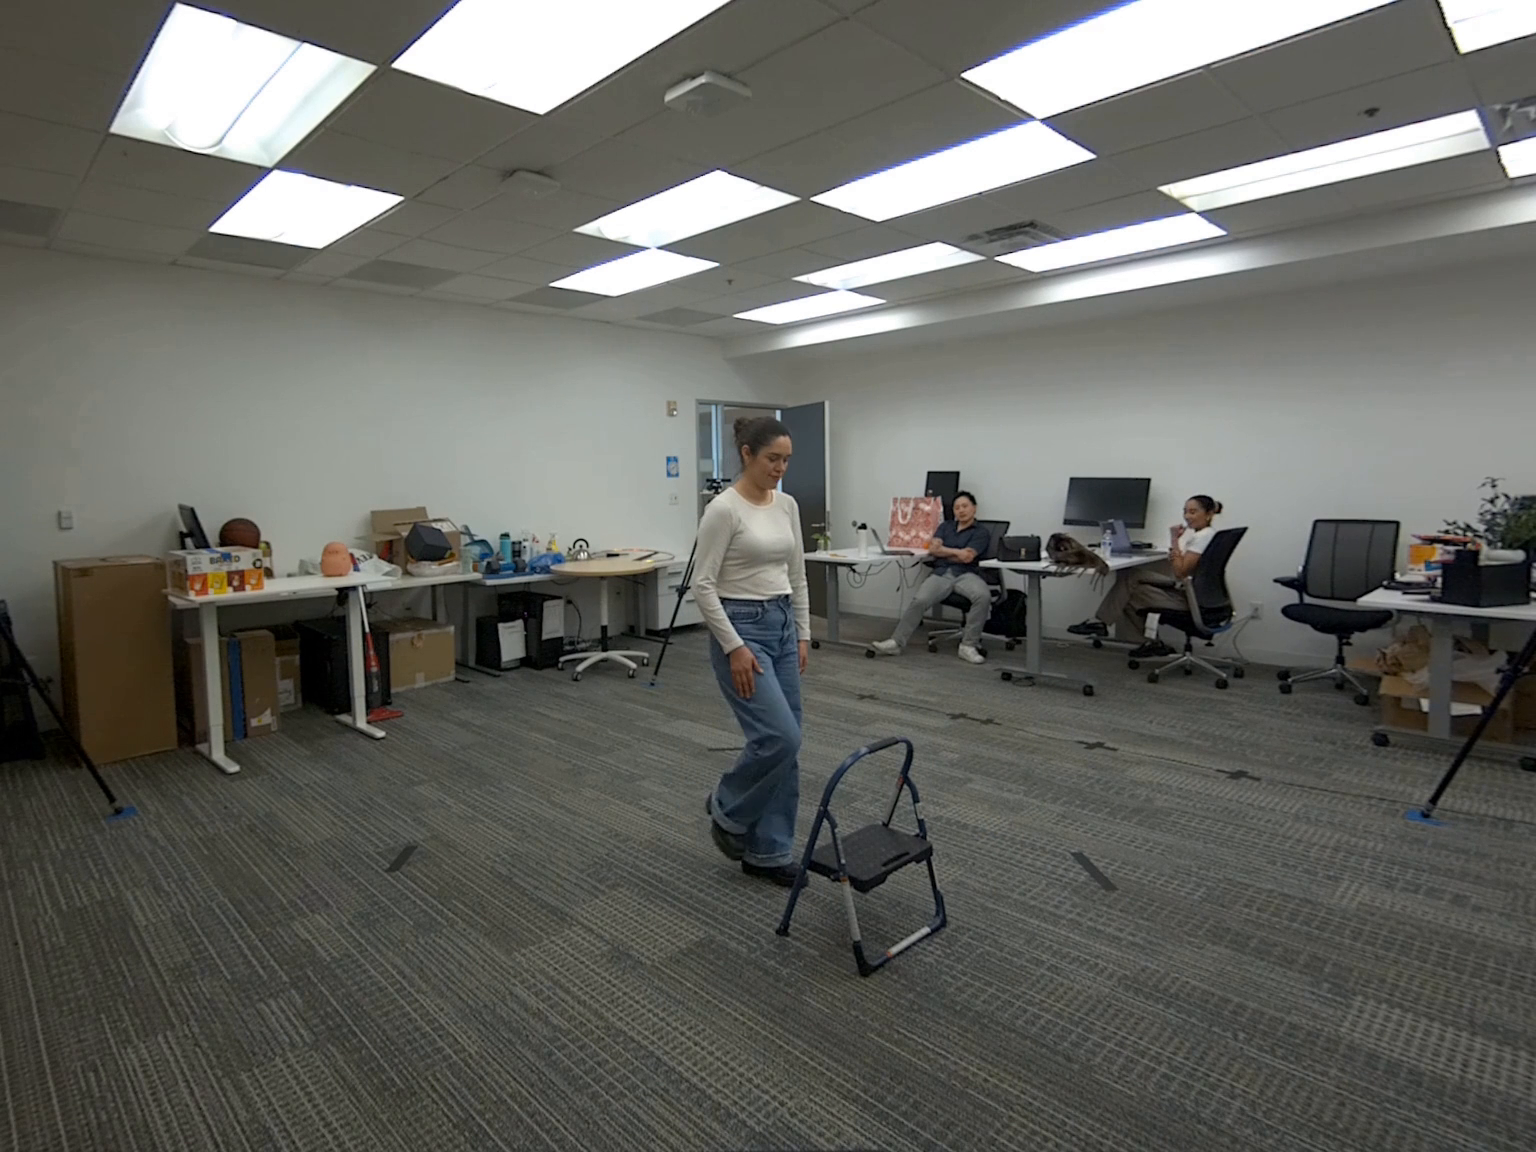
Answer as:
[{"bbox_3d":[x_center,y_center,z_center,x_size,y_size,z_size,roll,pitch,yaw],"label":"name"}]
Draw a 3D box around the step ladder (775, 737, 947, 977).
[{"bbox_3d":[0.290,0.792,2.625,0.419,0.604,0.360,-6,6,-45],"label":"step ladder"}]
